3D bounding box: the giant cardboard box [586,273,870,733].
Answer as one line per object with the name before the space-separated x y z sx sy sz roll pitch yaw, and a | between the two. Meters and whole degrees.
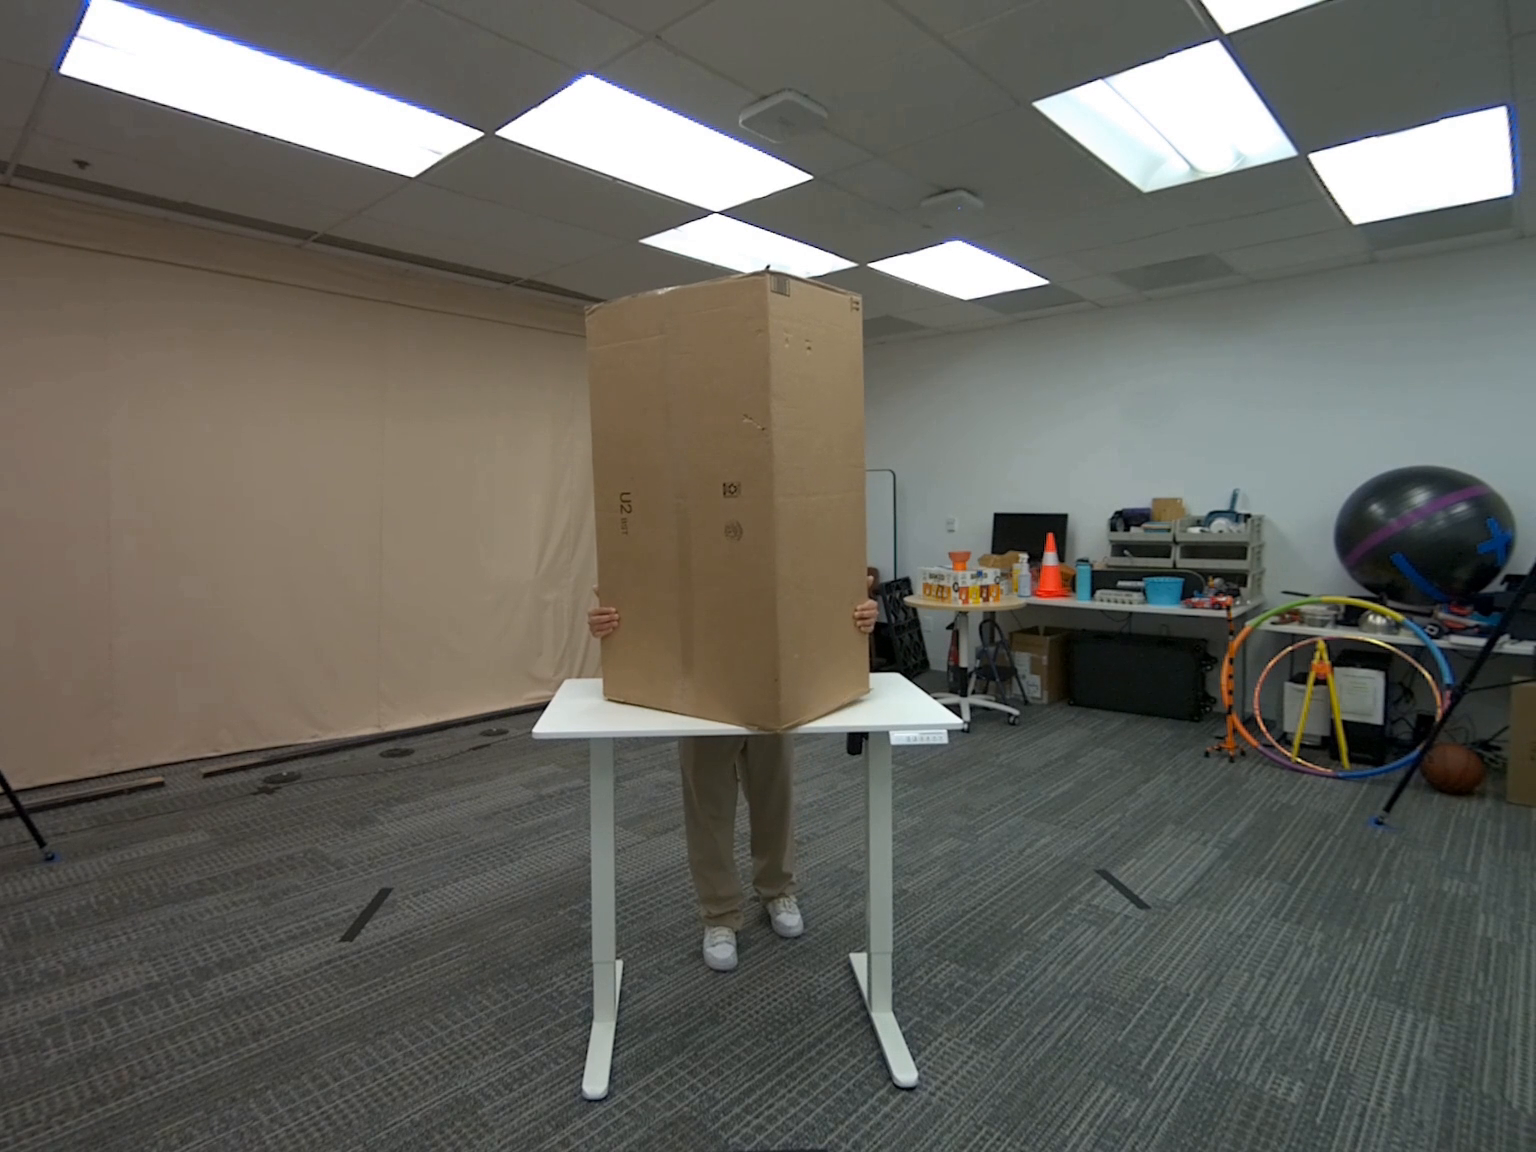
giant cardboard box | -0.095 -0.192 2.177 0.596 1.023 0.414 2 5 36
